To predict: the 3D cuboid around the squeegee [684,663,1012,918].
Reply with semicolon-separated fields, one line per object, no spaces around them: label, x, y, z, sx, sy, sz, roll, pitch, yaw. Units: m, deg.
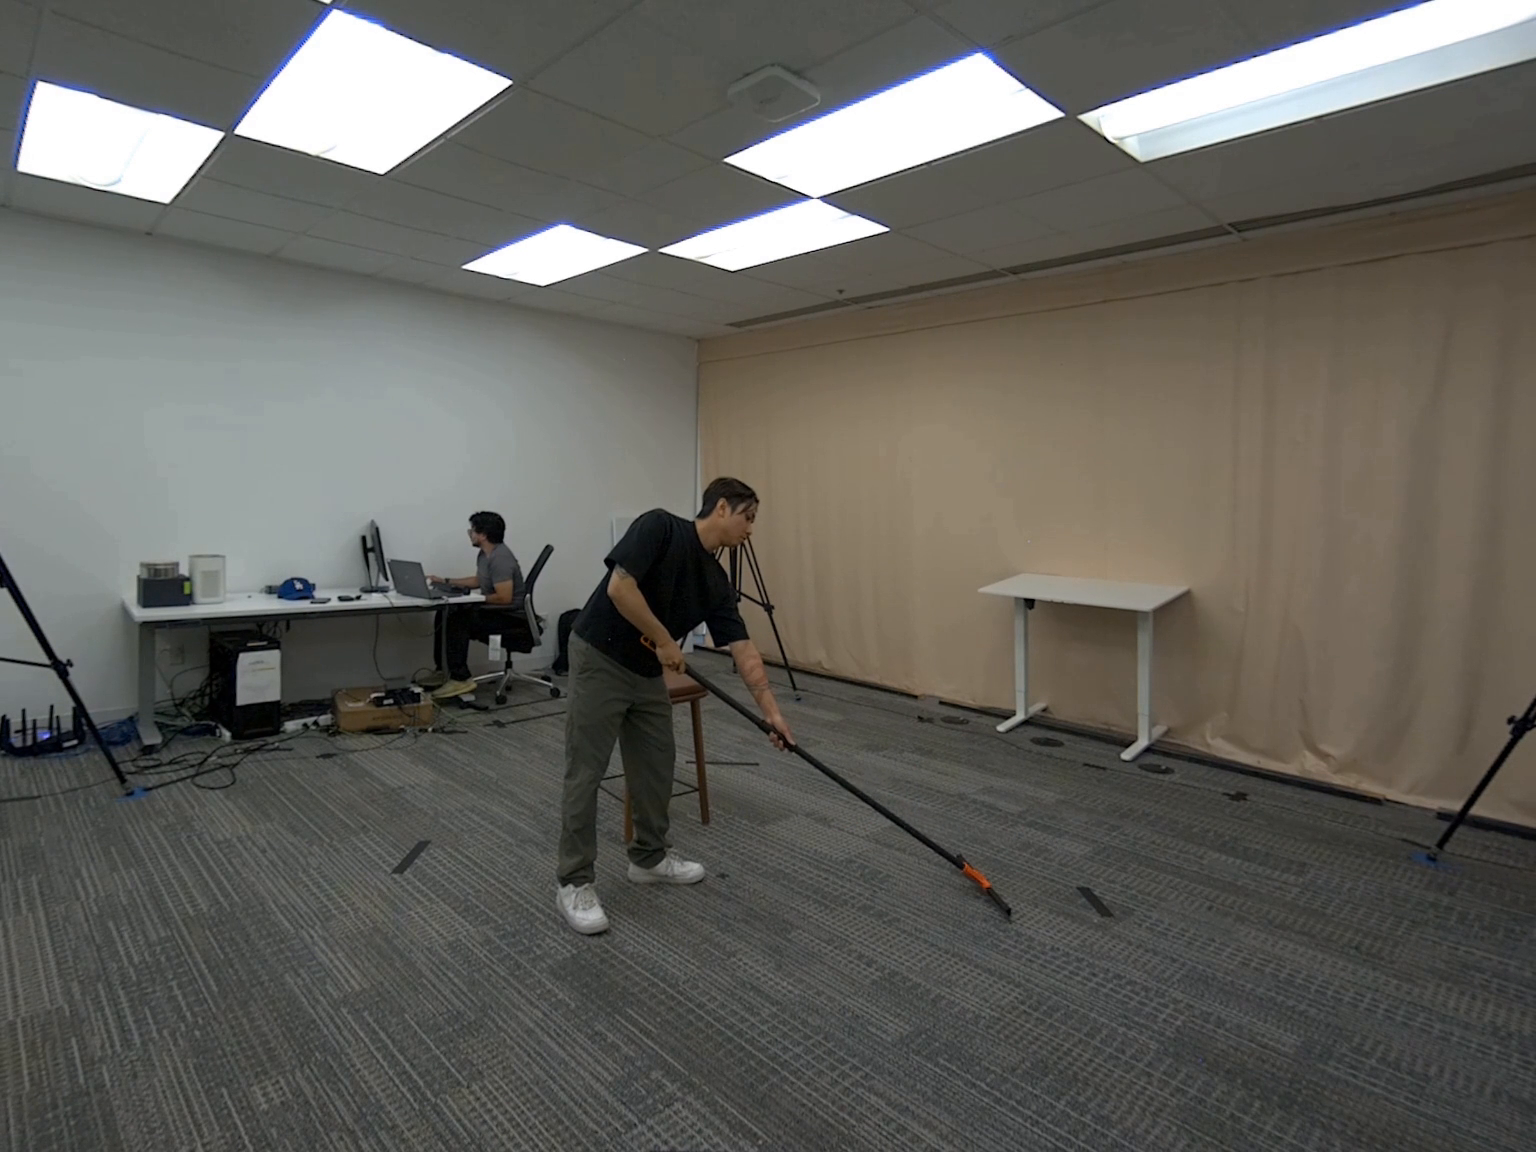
squeegee;0.188;0.660;2.965;1.529;0.053;0.440;37;-1;-5
